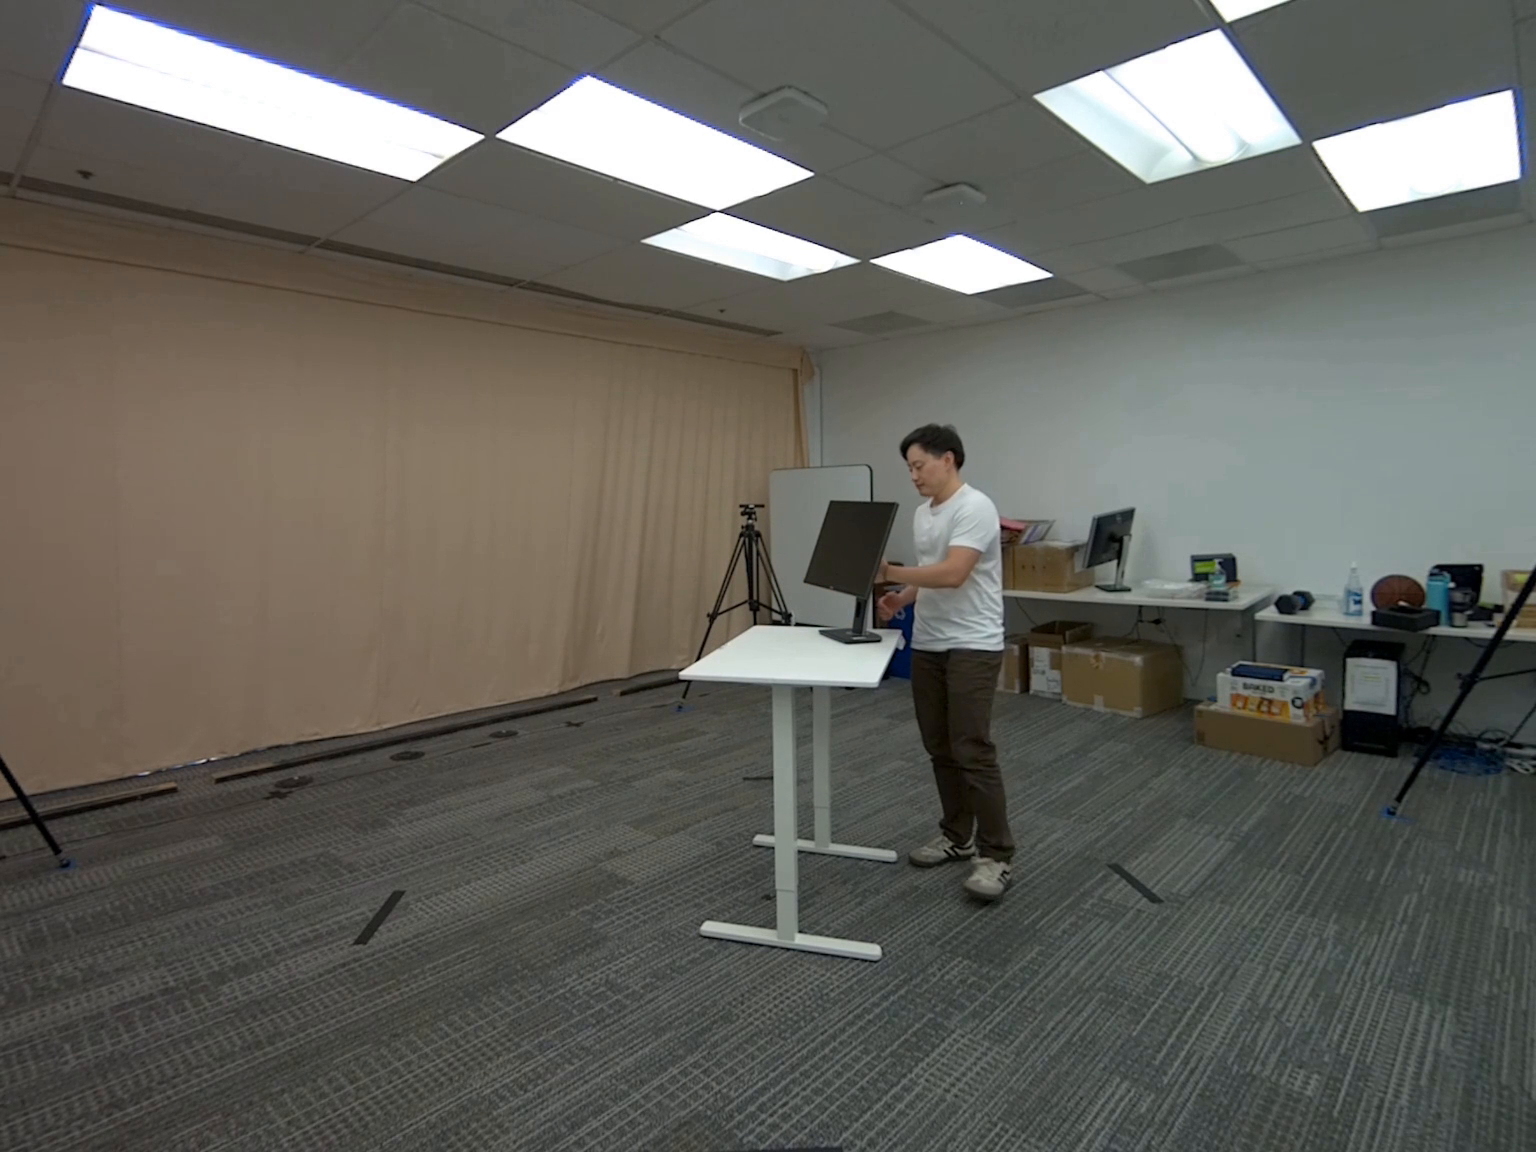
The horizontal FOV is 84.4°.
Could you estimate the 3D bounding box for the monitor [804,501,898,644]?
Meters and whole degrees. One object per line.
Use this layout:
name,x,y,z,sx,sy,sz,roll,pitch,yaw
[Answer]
monitor,0.336,-0.022,3.184,0.183,0.521,0.552,1,4,-22
